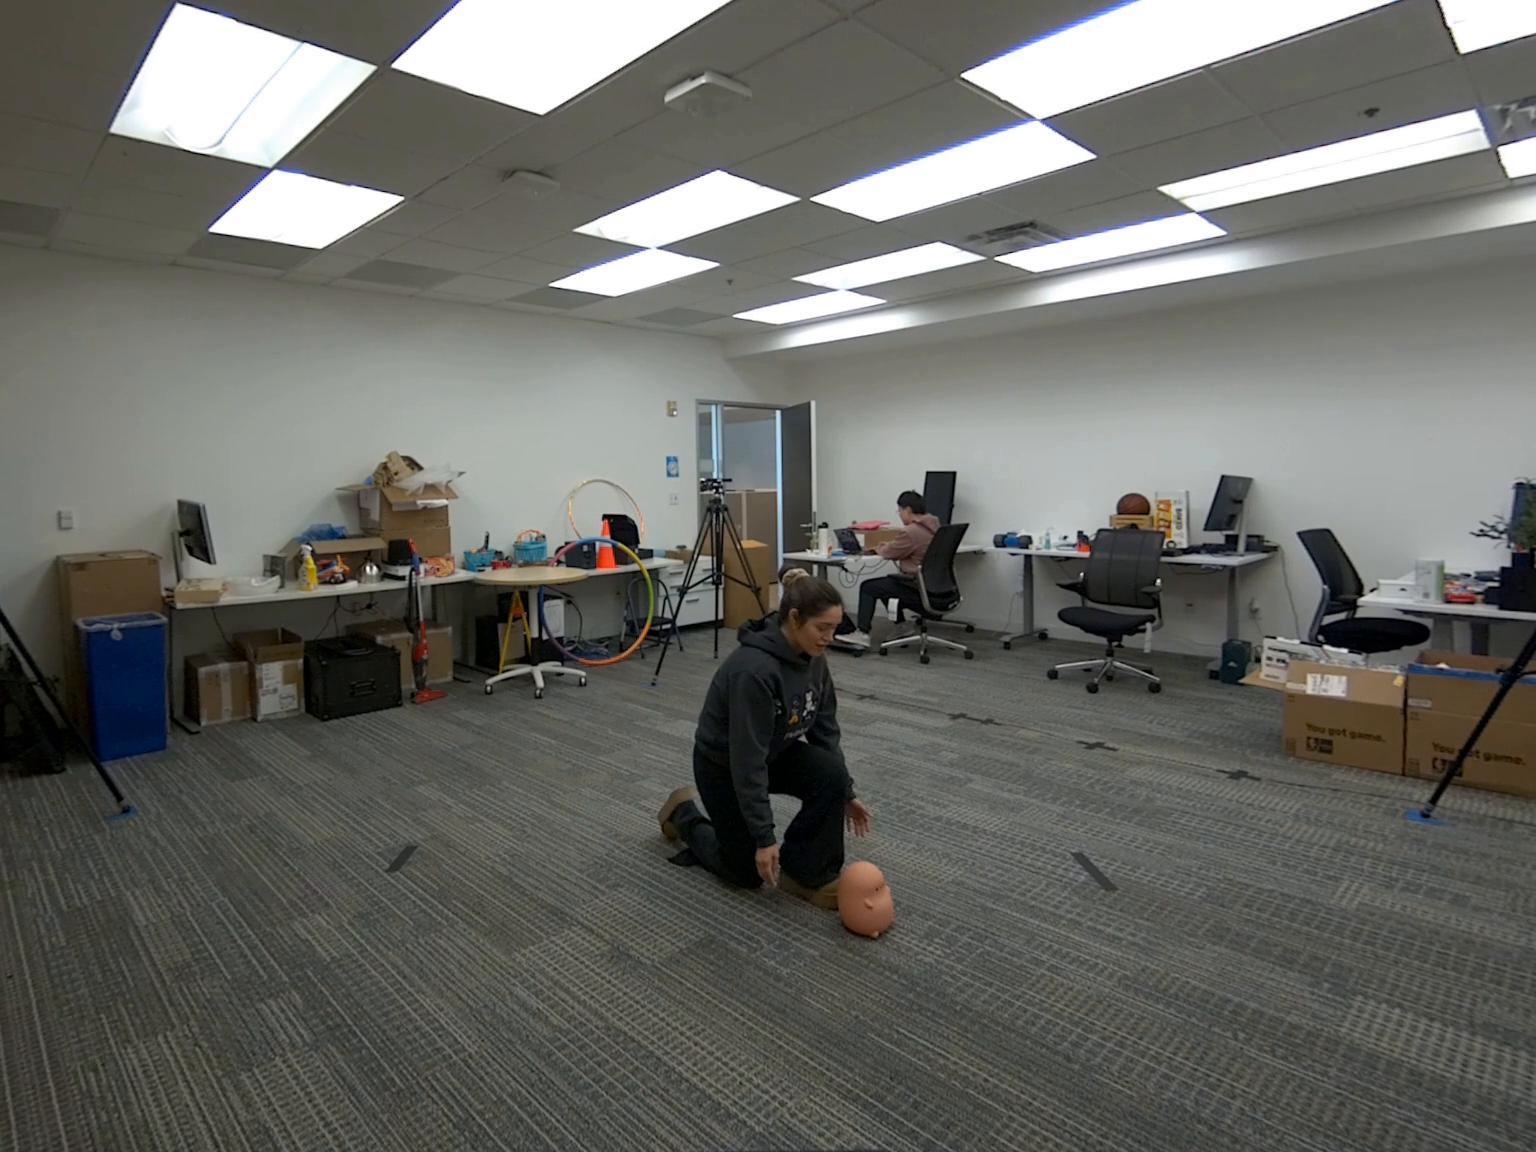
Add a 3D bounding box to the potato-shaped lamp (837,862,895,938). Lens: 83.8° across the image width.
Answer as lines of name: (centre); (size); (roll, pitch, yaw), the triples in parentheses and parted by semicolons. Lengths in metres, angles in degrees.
potato-shaped lamp: (0.300, 0.996, 2.637); (0.176, 0.198, 0.160); (-3, 2, 36)
